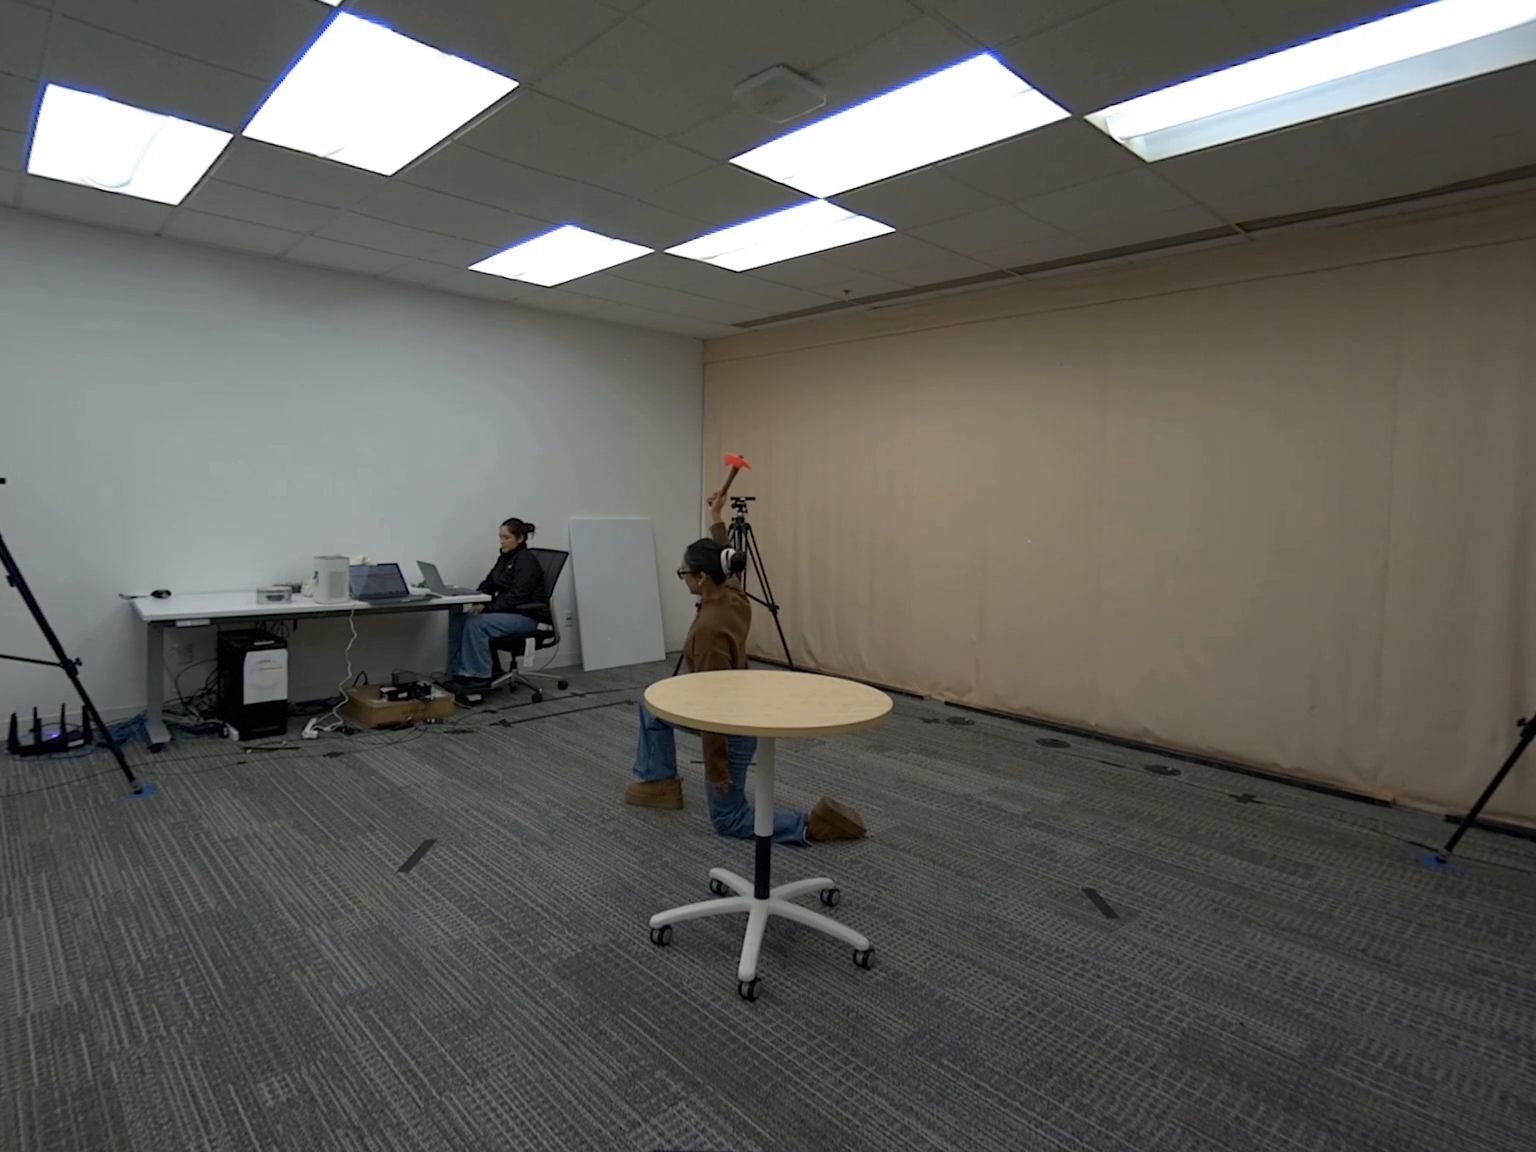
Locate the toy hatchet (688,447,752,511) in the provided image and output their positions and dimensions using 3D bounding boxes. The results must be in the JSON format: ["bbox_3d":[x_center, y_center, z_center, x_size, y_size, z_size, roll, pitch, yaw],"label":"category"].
[{"bbox_3d":[-0.218,-0.434,3.774,0.270,0.132,0.029,-42,-9,16],"label":"toy hatchet"}]
